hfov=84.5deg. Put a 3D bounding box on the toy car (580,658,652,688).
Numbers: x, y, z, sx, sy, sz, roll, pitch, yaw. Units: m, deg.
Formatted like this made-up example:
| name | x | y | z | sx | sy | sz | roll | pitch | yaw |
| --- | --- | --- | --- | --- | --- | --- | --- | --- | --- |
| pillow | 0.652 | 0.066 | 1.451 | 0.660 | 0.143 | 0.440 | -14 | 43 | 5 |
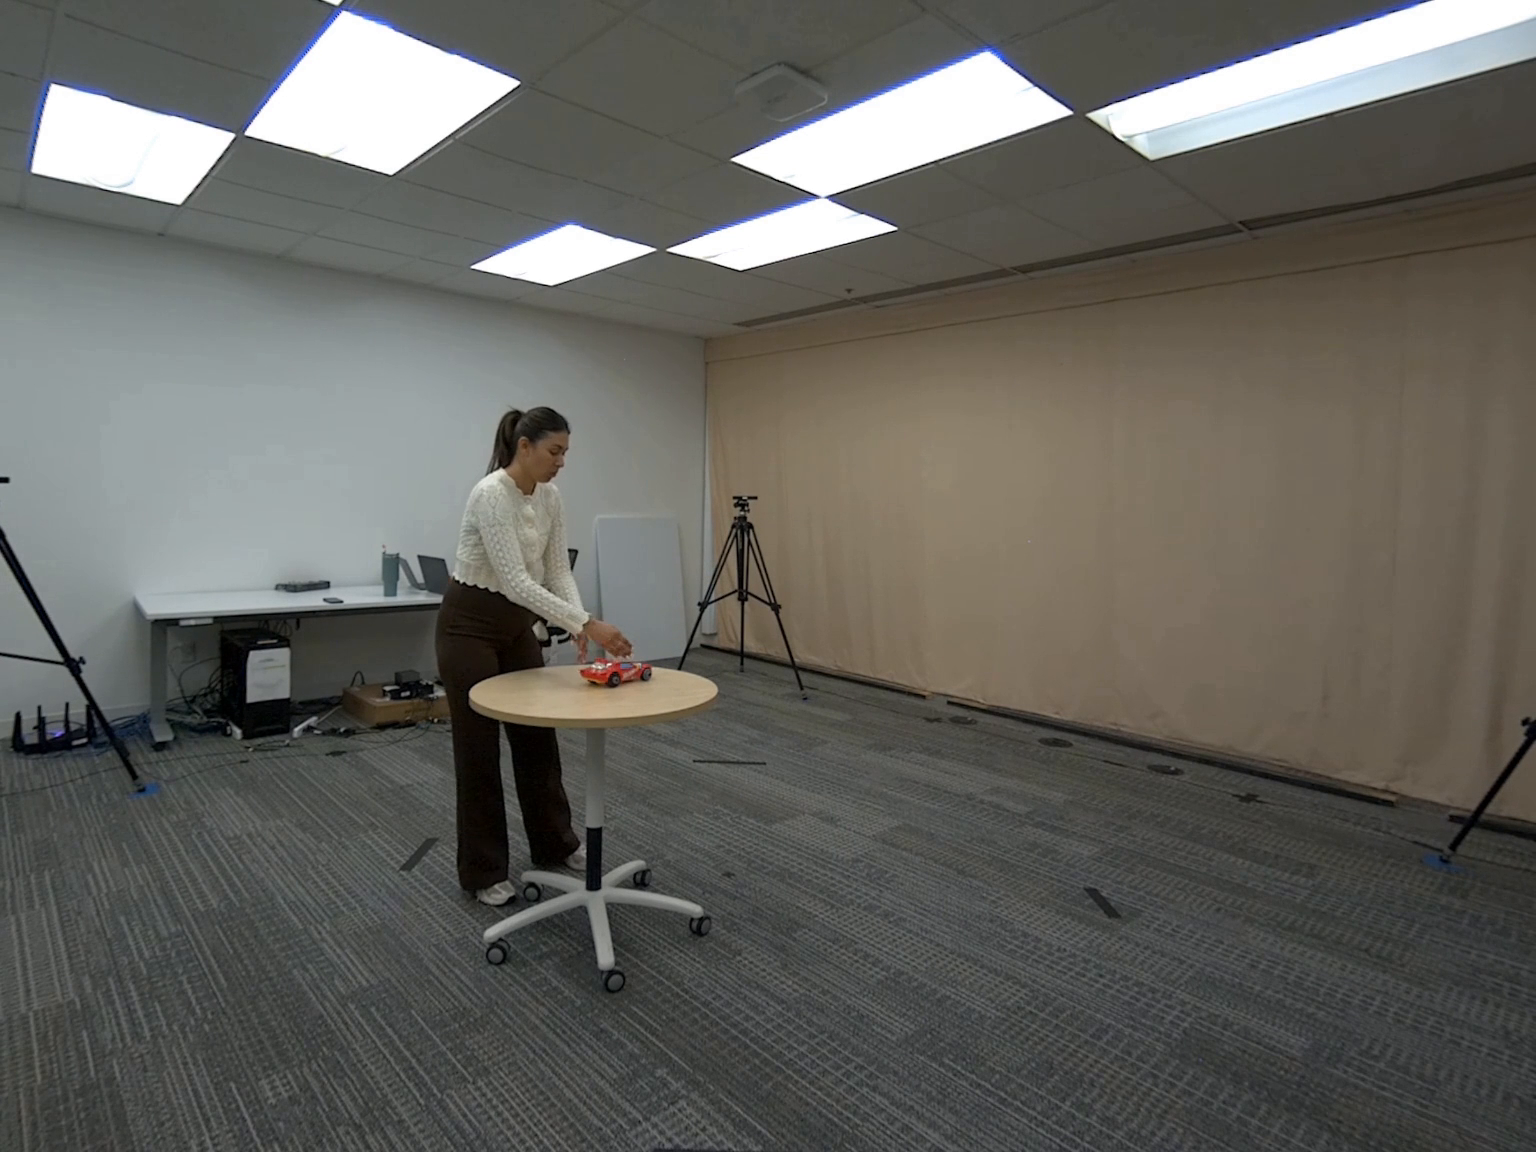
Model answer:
| name | x | y | z | sx | sy | sz | roll | pitch | yaw |
| --- | --- | --- | --- | --- | --- | --- | --- | --- | --- |
| toy car | -0.504 | 0.317 | 2.716 | 0.133 | 0.083 | 0.247 | 7 | -3 | 38 |
